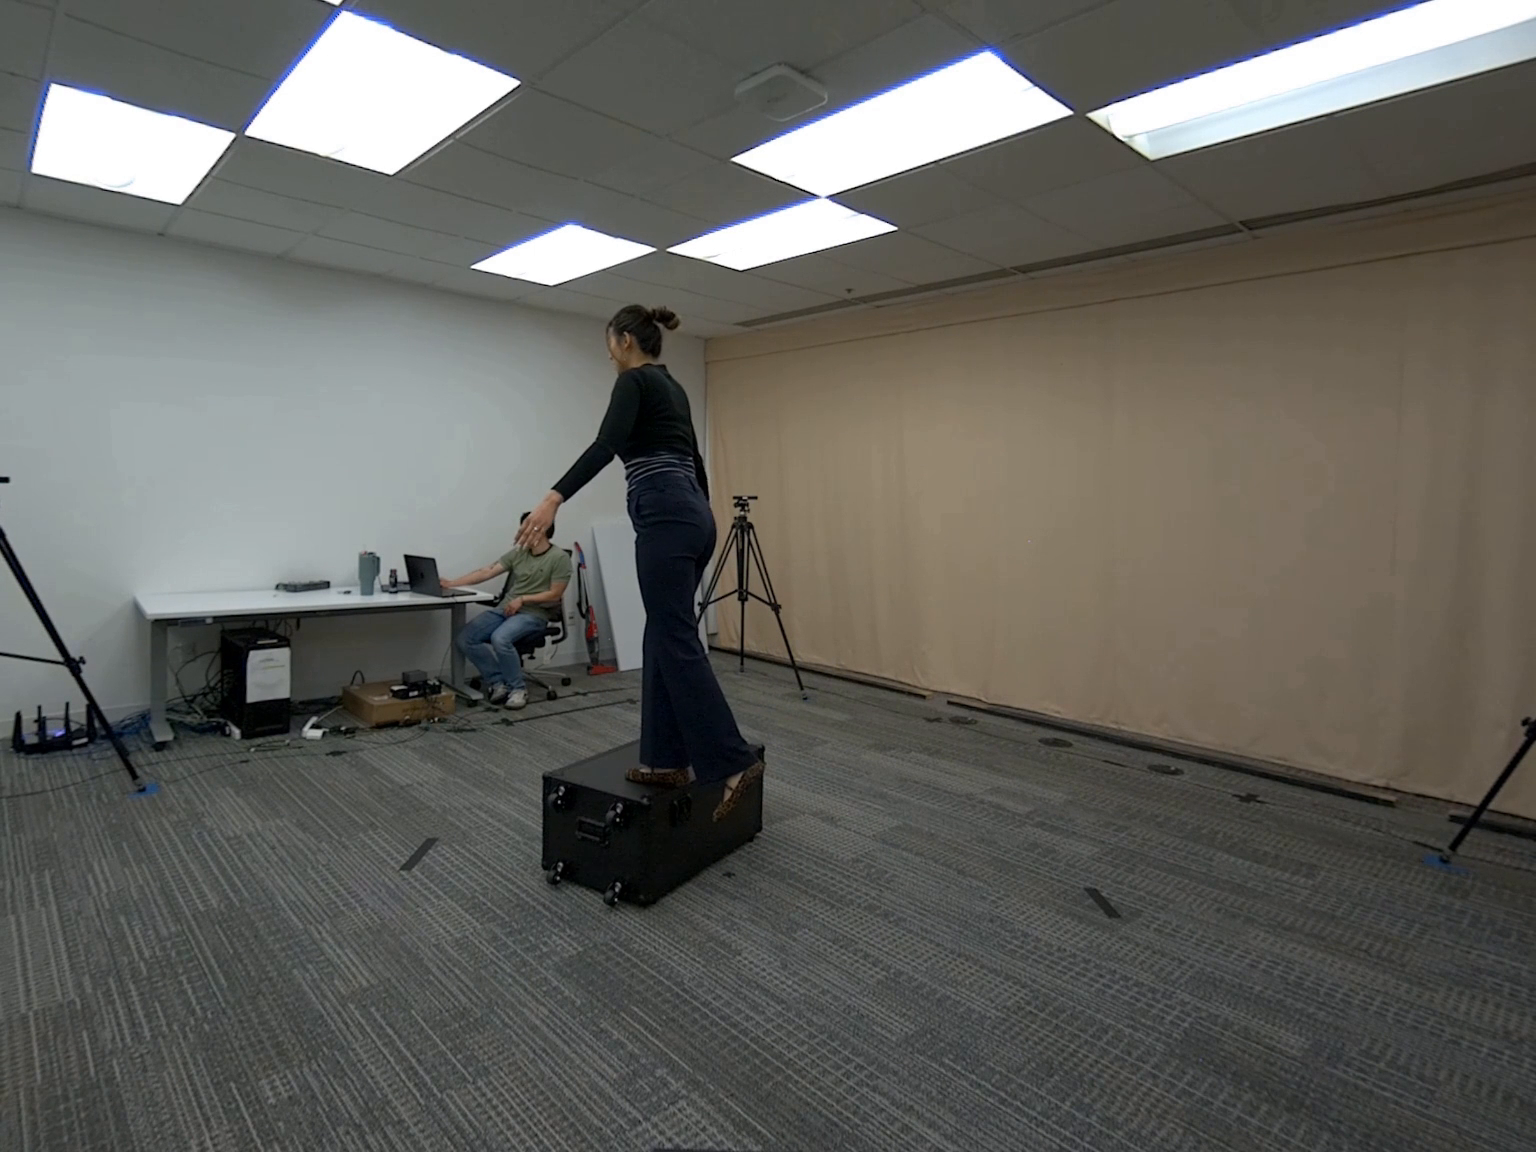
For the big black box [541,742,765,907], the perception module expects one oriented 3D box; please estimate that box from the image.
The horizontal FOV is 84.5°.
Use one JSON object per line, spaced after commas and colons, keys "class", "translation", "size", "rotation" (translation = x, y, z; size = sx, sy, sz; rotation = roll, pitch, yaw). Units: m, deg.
{"class": "big black box", "translation": [-0.444, 0.895, 3.230], "size": [0.533, 0.395, 0.845], "rotation": [5, 6, 30]}
